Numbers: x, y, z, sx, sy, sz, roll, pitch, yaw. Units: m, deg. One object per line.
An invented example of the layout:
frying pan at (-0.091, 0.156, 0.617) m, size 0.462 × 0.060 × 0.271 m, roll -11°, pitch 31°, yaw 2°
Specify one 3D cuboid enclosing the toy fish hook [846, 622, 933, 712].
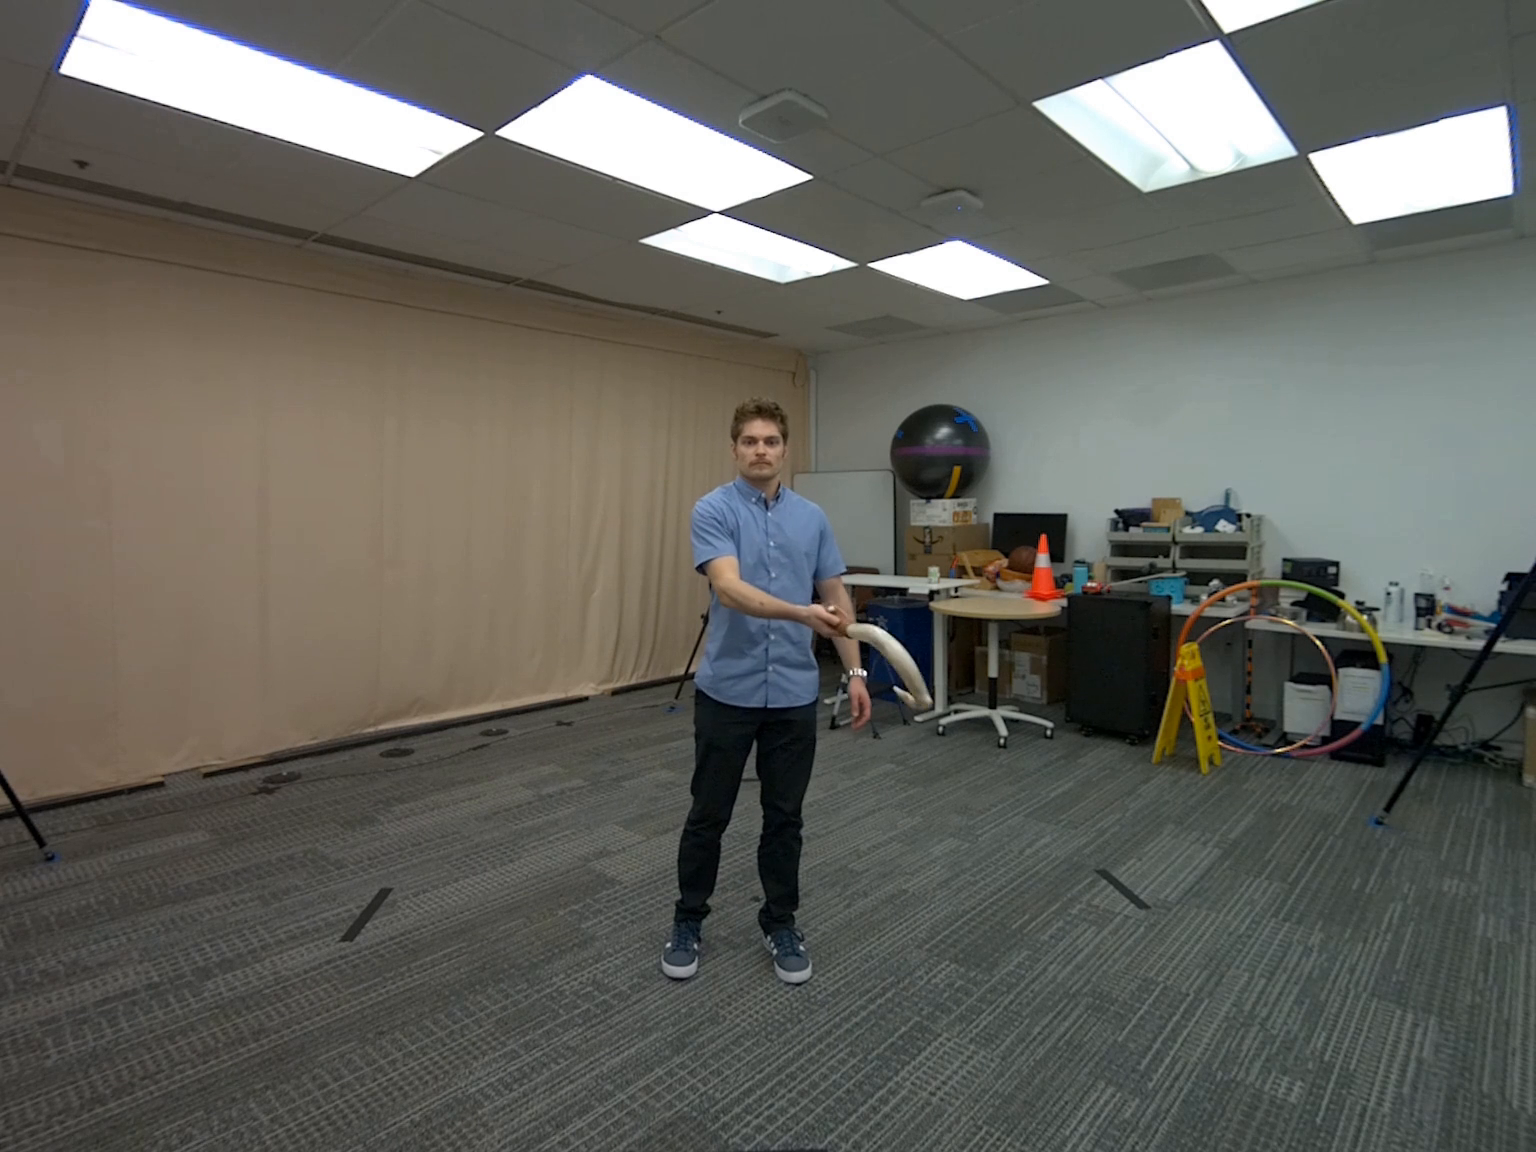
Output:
toy fish hook at (0.229, 0.166, 2.025) m, size 0.048 × 0.221 × 0.518 m, roll -24°, pitch 17°, yaw -12°
